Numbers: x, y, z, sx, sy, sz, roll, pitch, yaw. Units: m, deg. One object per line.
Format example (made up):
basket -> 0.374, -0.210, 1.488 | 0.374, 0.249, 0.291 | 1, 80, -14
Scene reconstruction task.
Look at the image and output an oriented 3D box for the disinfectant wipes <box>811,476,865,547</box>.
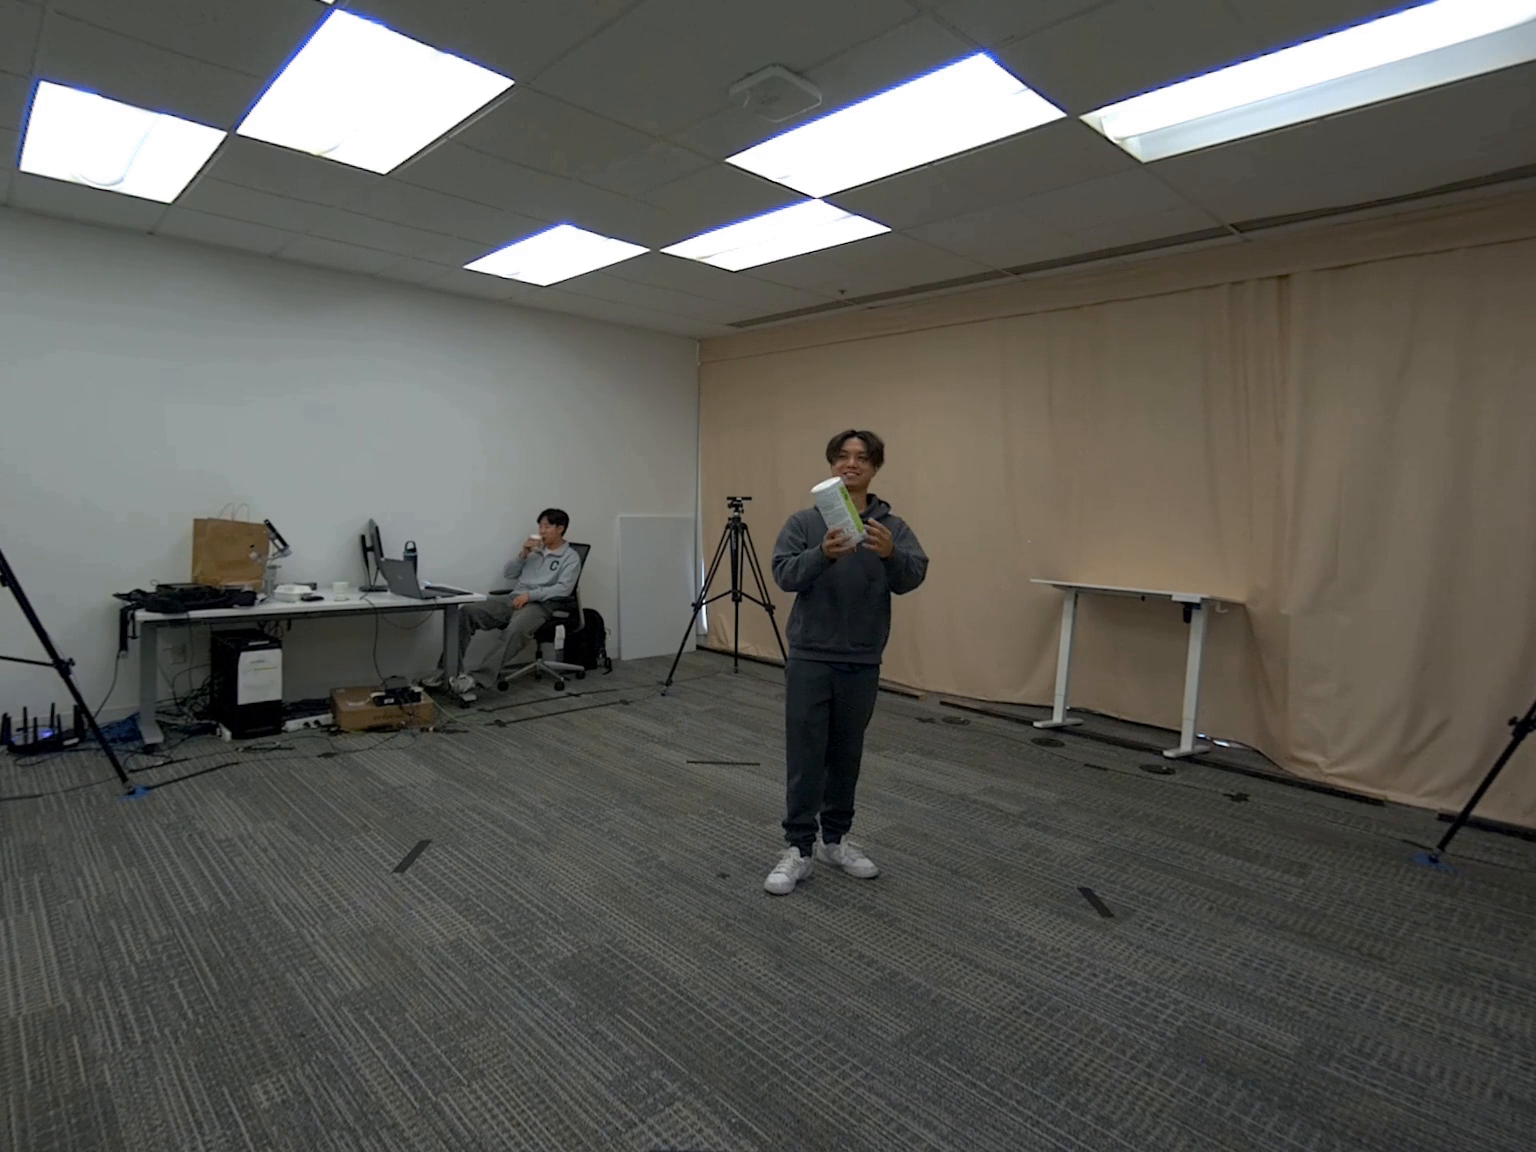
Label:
disinfectant wipes -> 0.219, -0.207, 2.748 | 0.118, 0.215, 0.119 | -24, 12, 4
